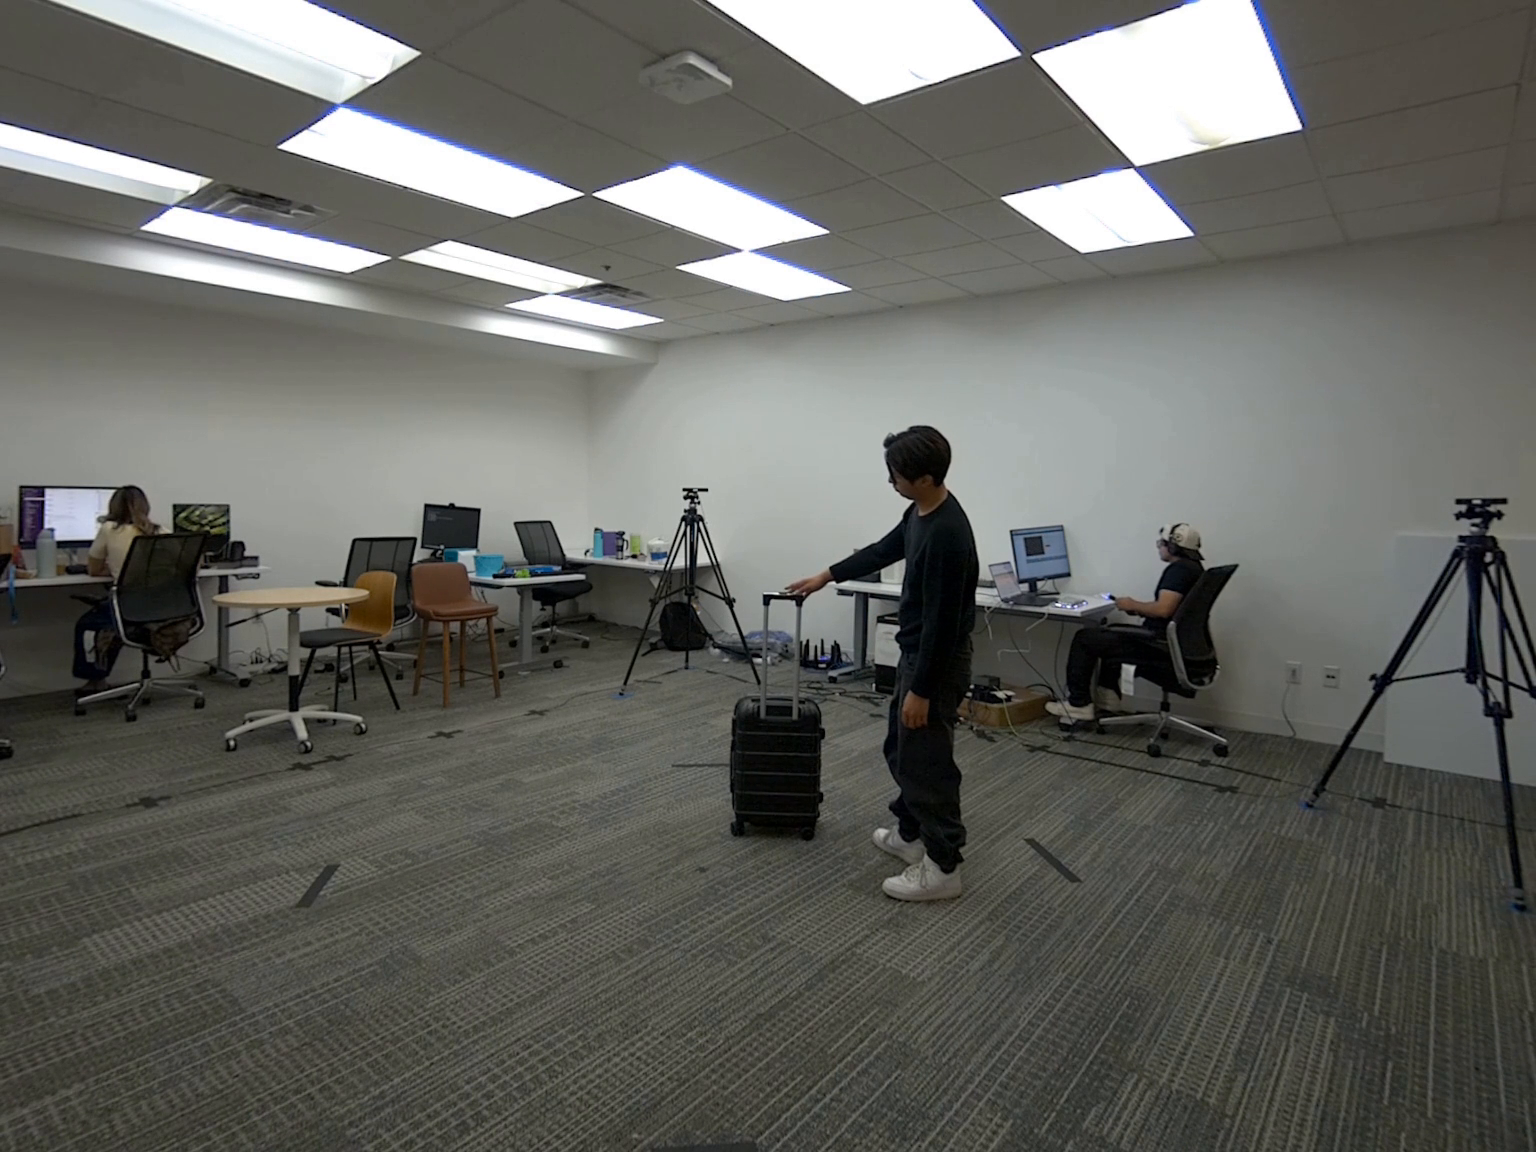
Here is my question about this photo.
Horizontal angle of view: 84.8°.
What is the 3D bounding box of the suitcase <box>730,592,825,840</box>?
[{"bbox_3d":[0.031,0.559,3.499,0.384,0.978,0.257,2,1,0],"label":"suitcase"}]
